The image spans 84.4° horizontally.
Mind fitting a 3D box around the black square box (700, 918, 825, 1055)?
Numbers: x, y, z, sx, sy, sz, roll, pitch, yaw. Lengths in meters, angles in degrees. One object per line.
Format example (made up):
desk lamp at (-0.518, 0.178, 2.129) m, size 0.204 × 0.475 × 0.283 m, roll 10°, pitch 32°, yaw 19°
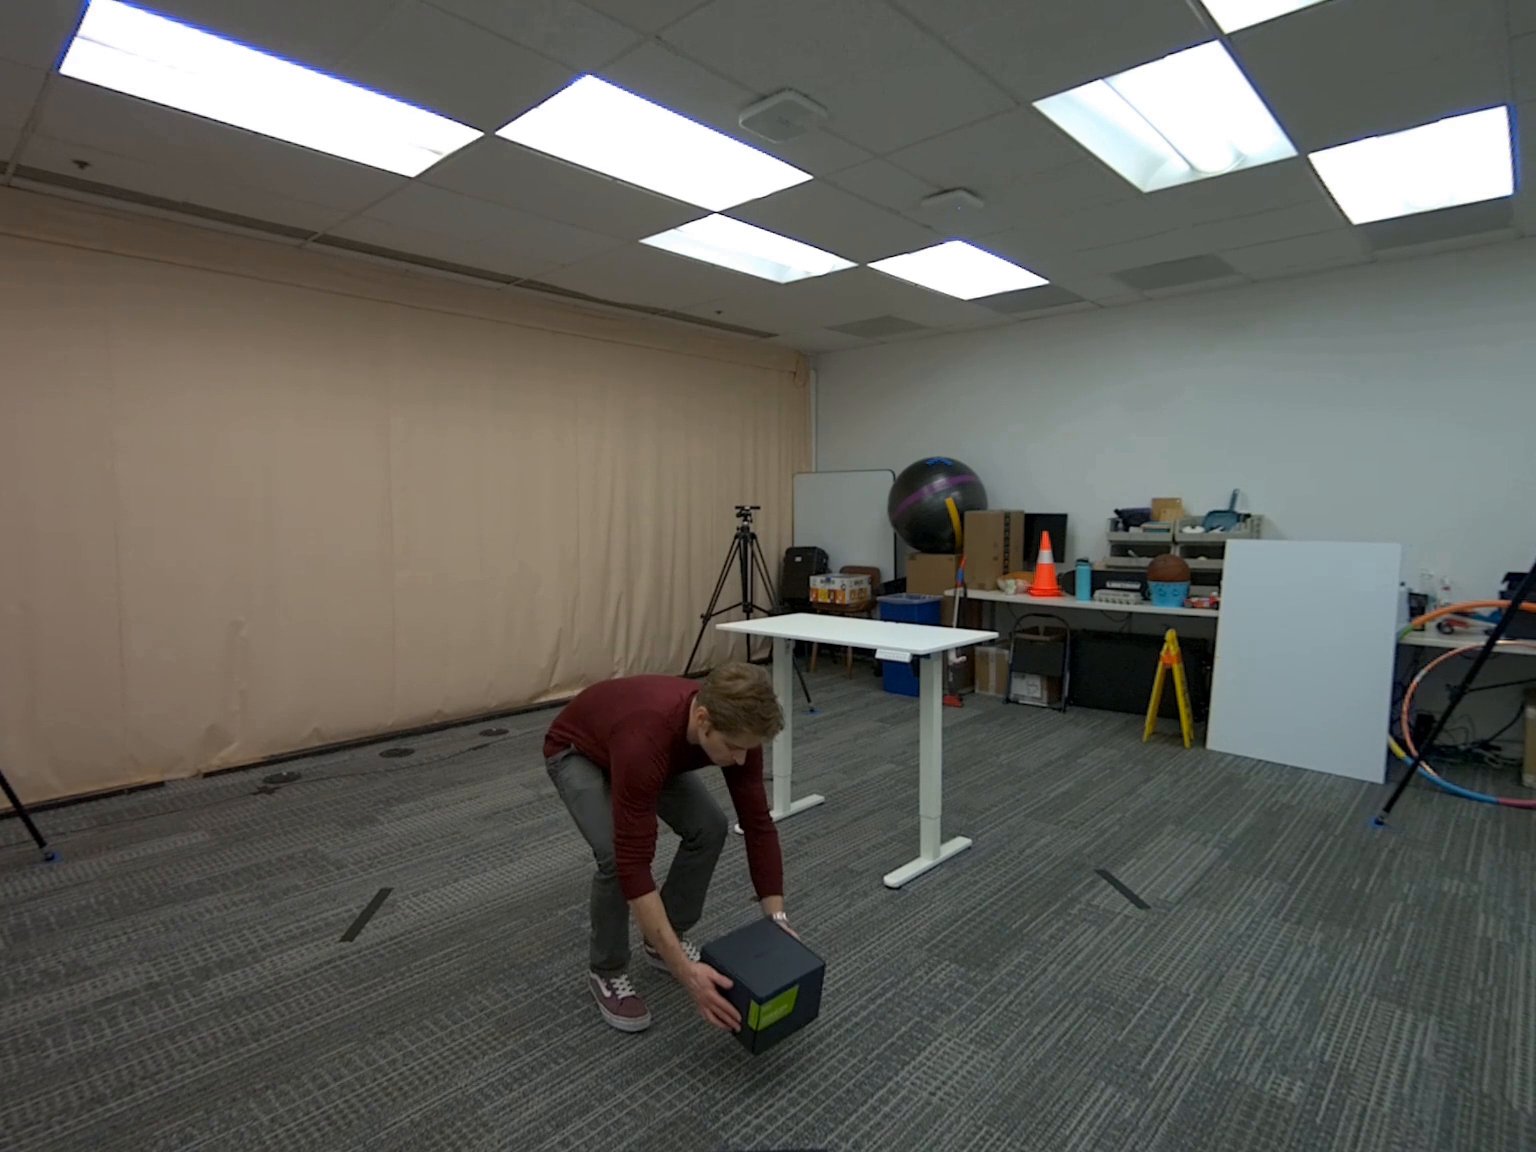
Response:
black square box at (-0.026, 0.998, 2.088) m, size 0.221 × 0.155 × 0.225 m, roll -4°, pitch 17°, yaw -43°
